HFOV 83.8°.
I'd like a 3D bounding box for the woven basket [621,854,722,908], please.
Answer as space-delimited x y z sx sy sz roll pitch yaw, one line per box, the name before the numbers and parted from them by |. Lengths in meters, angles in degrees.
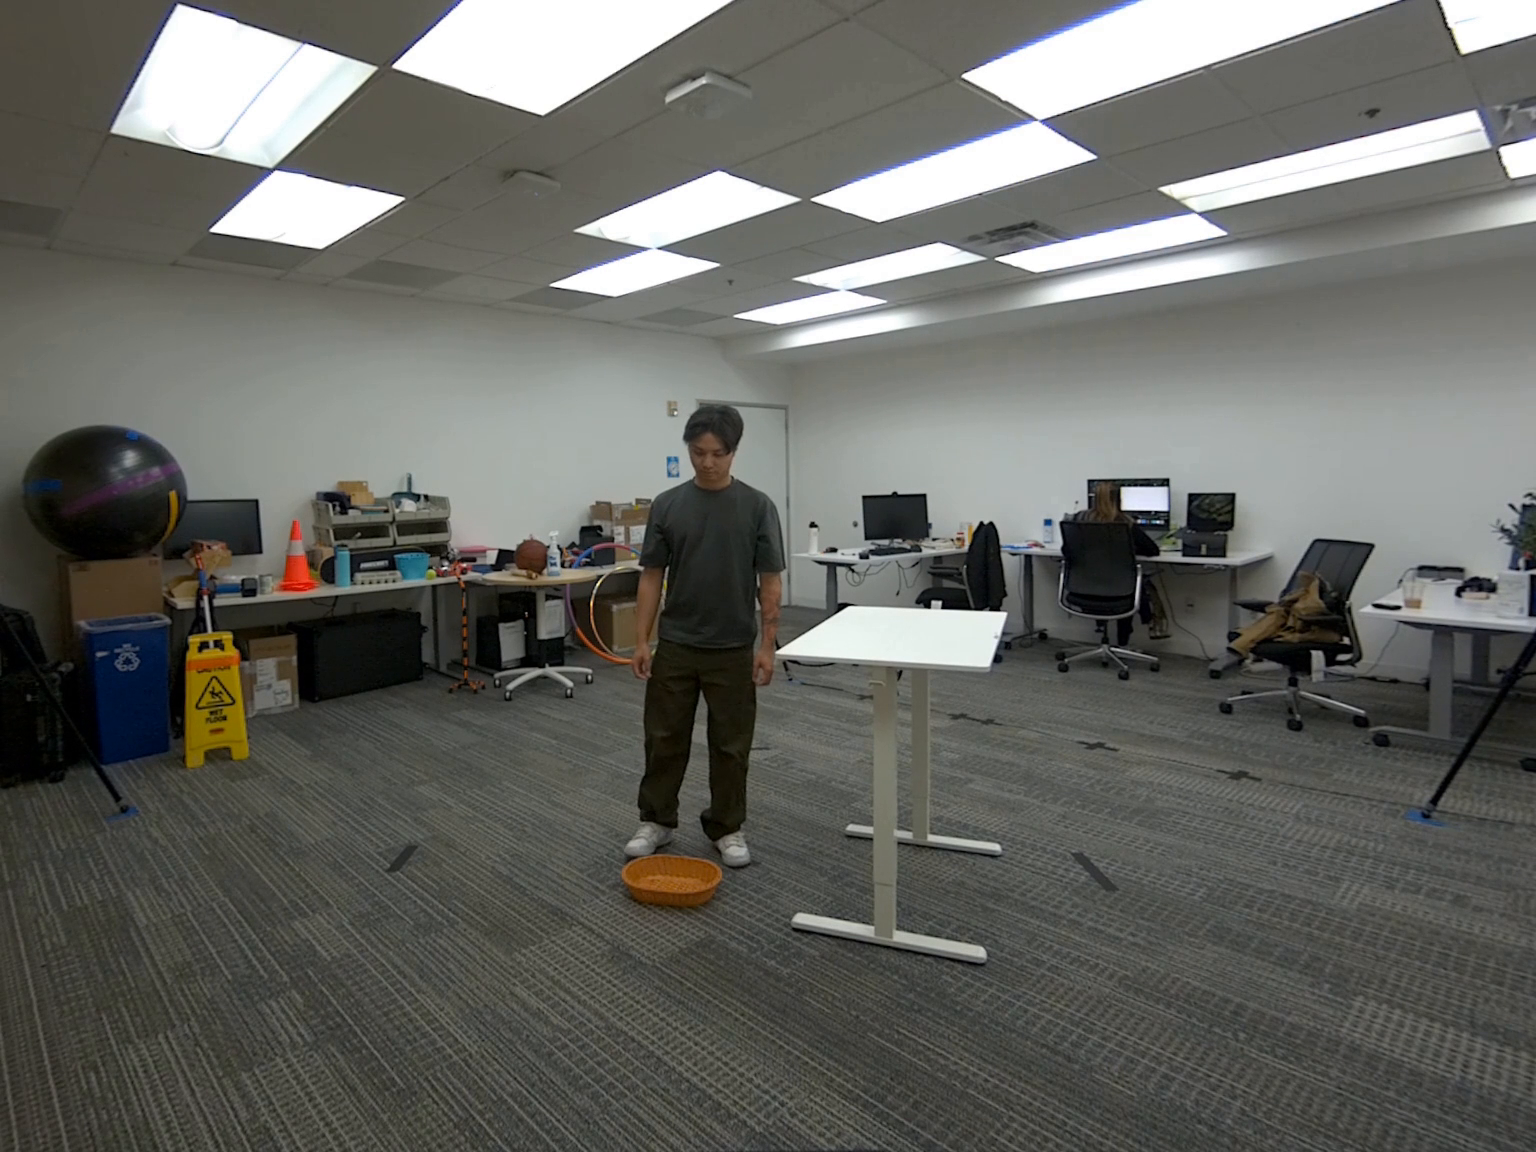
woven basket | -0.326 1.040 2.895 0.356 0.073 0.249 1 7 18
